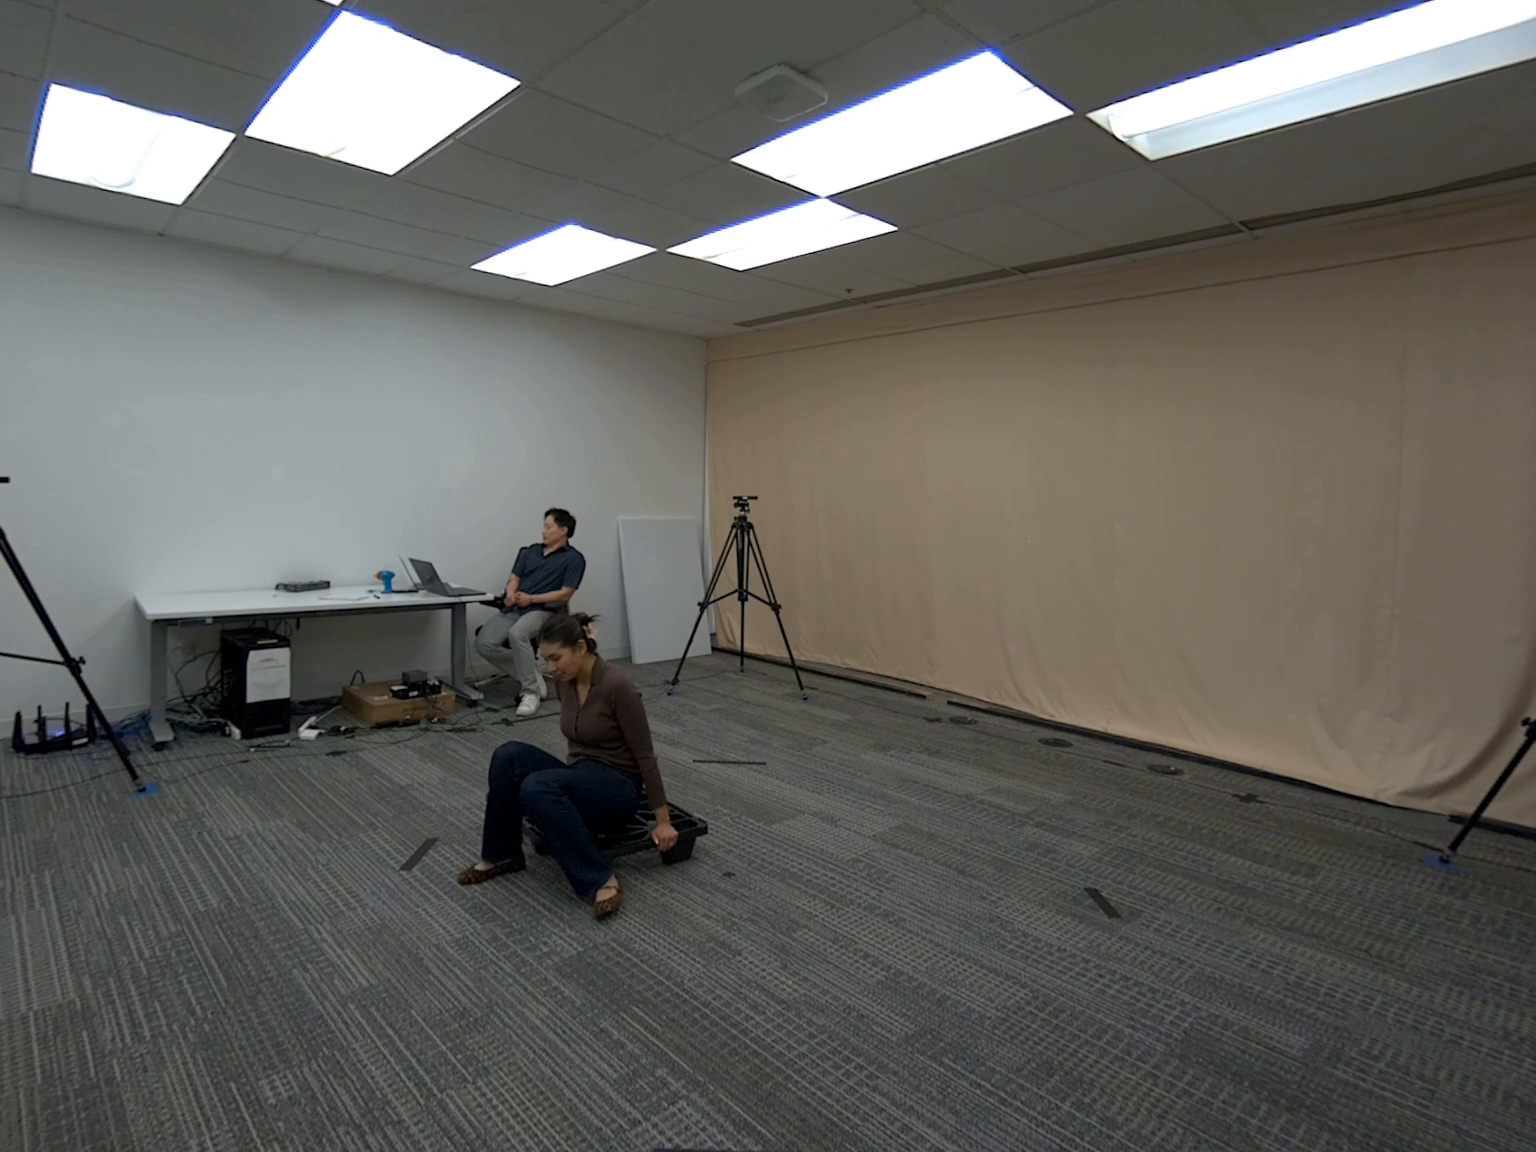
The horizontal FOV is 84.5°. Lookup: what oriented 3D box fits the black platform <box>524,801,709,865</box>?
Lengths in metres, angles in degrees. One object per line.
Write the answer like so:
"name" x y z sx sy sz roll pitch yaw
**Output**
"black platform" -0.708 1.003 3.390 0.592 0.143 0.826 -2 7 -37
